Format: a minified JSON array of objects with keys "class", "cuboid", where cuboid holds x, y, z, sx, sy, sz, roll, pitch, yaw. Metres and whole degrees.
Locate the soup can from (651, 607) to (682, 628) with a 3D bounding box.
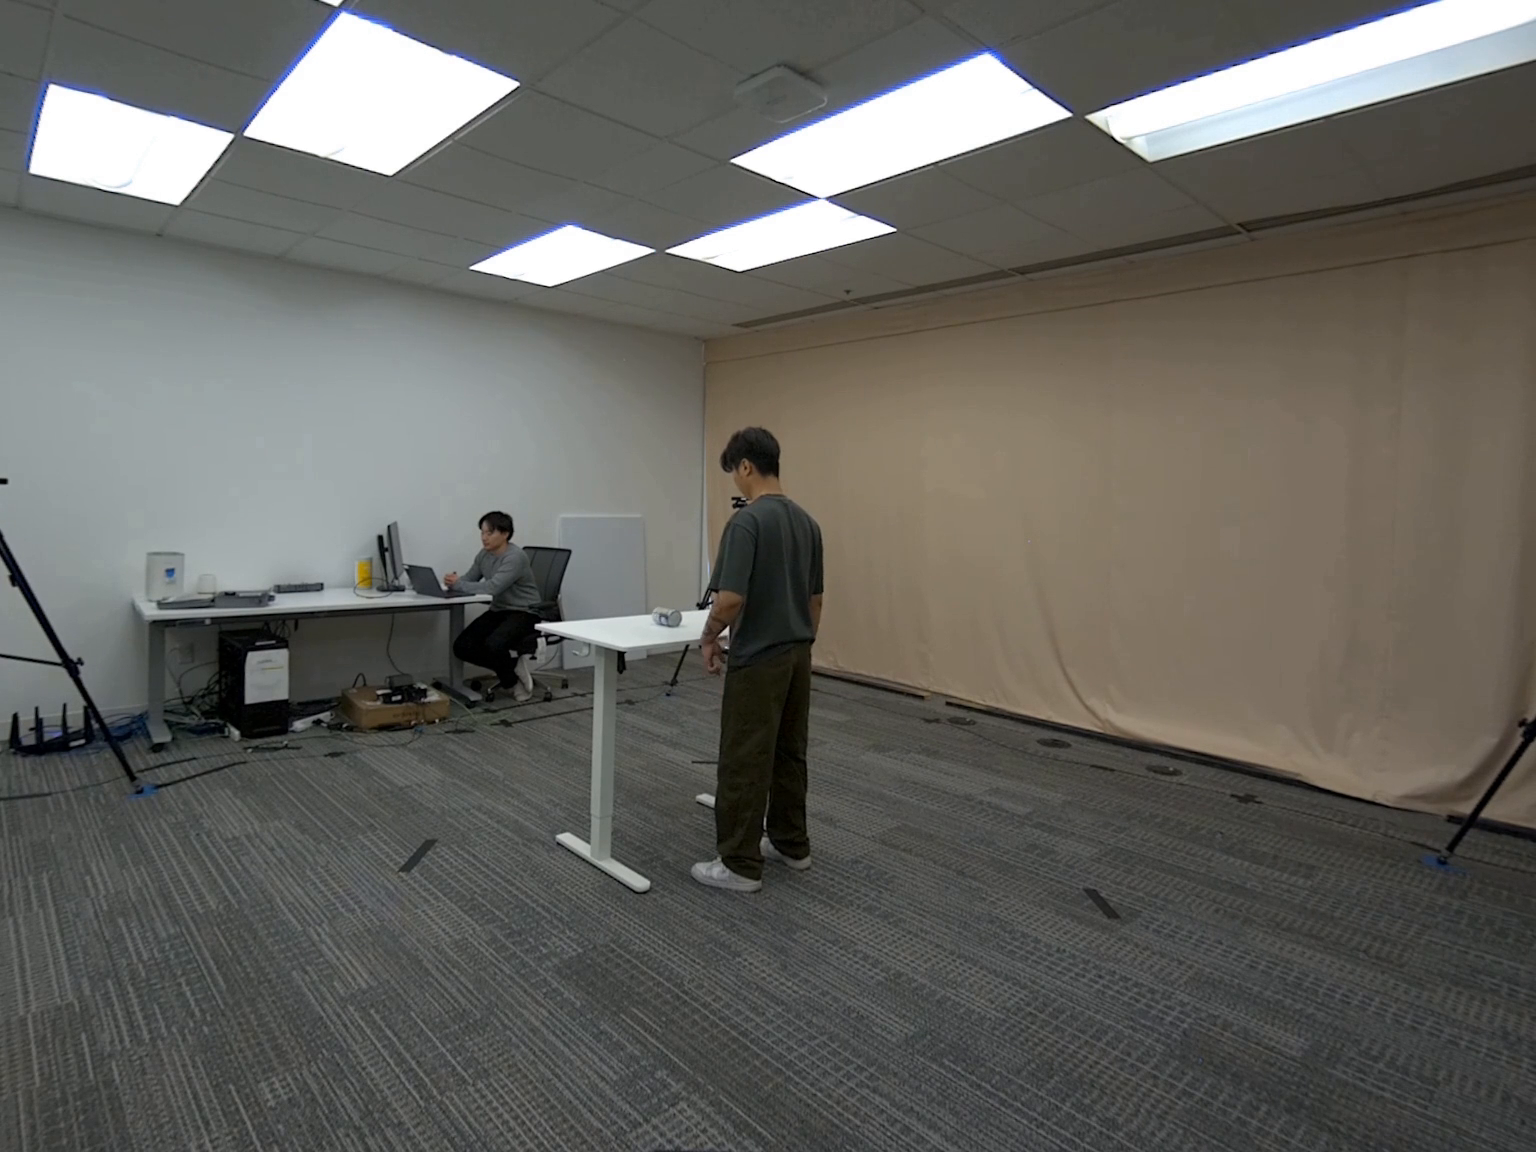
[{"class":"soup can","cuboid":[-0.398,0.162,3.352,0.125,0.067,0.065,7,7,41]}]
